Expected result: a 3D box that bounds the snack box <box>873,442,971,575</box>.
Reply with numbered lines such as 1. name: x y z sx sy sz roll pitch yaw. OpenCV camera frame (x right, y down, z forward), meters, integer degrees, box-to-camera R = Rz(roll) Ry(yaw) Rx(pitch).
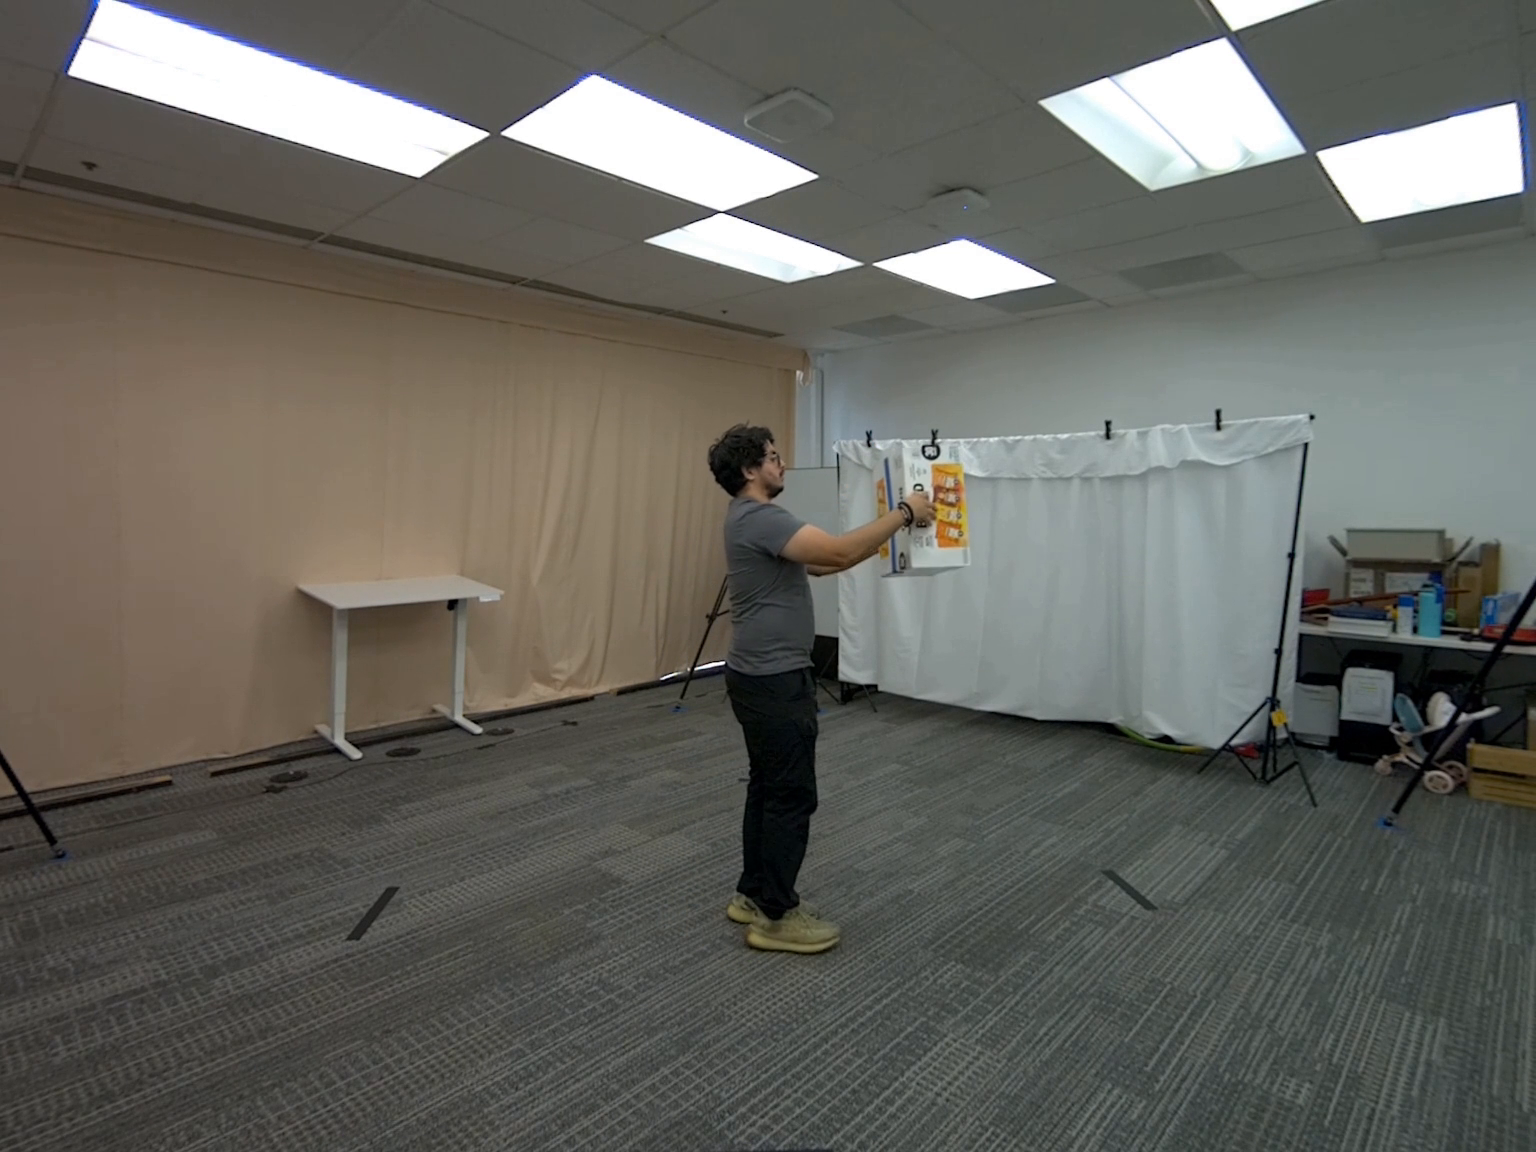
1. snack box: 0.529 -0.215 2.884 0.204 0.407 0.341 -2 -7 -8
